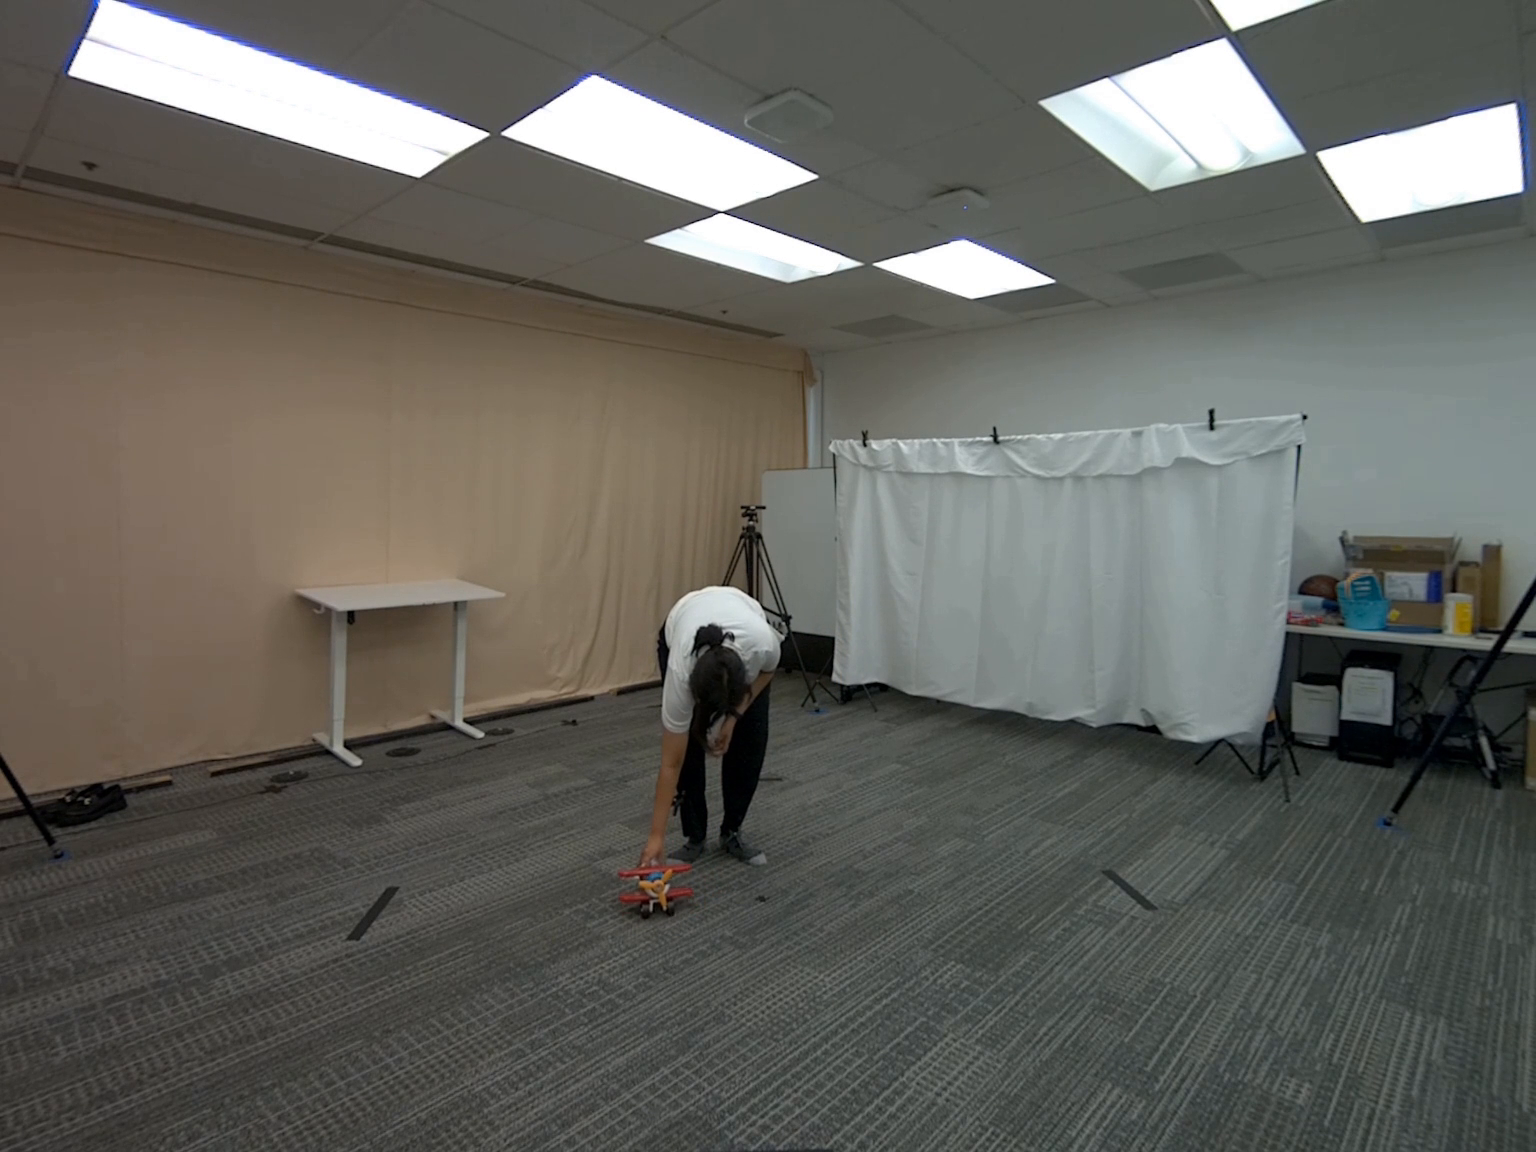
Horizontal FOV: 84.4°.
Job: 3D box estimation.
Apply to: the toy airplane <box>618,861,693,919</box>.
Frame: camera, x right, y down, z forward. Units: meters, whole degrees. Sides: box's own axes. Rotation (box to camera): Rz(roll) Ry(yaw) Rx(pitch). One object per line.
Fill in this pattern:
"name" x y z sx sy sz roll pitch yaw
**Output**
"toy airplane" -0.414 1.078 2.937 0.244 0.156 0.268 -6 7 -39
